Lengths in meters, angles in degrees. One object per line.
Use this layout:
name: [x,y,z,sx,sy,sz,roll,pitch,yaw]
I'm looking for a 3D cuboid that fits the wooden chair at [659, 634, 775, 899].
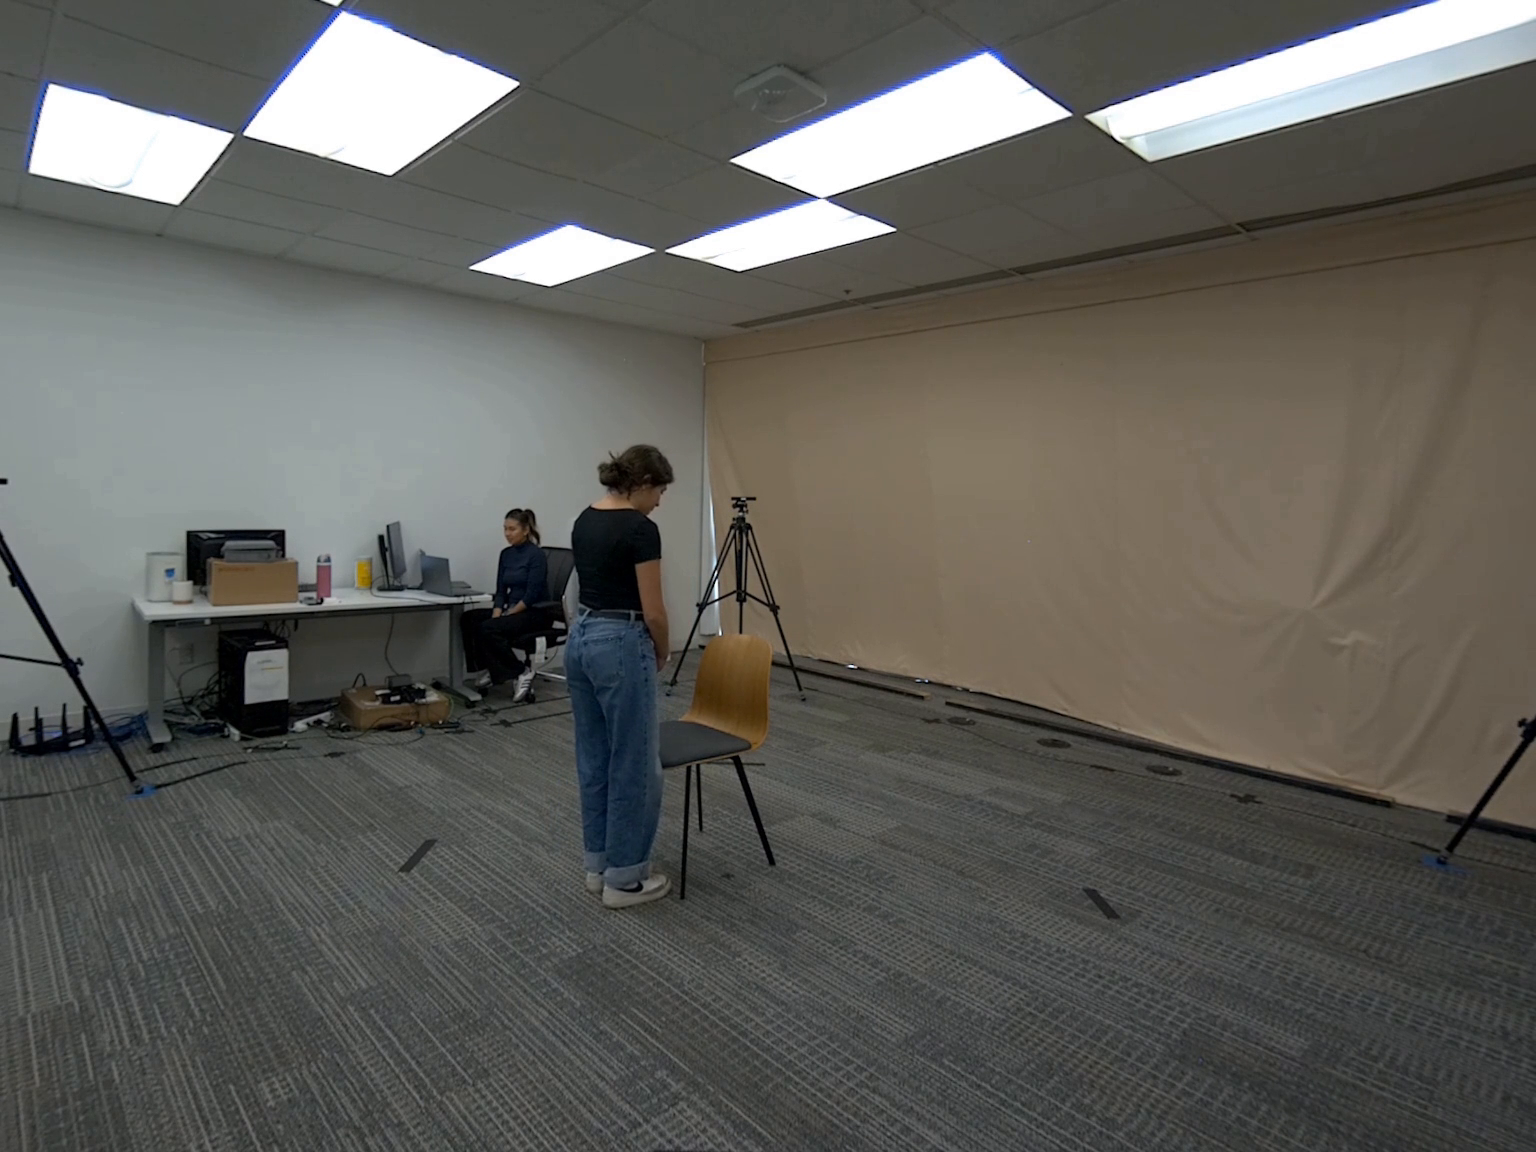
wooden chair: [-0.287,0.673,3.192,0.510,0.877,0.490,4,1,-43]
